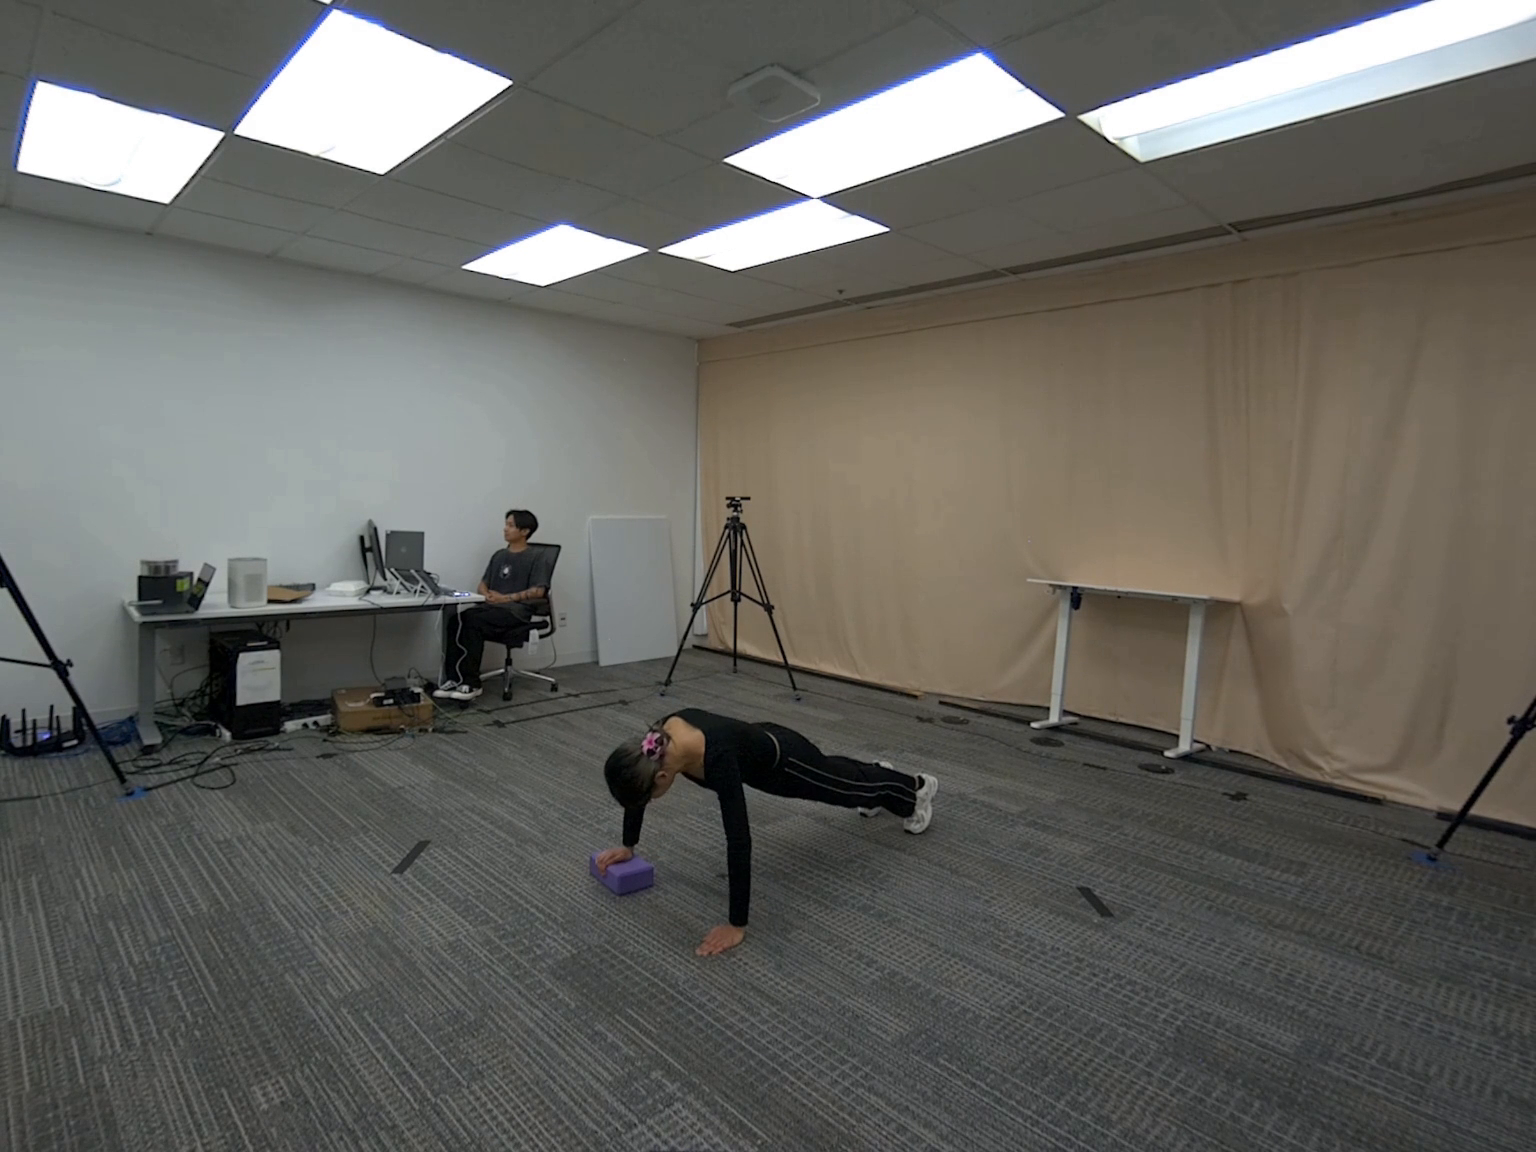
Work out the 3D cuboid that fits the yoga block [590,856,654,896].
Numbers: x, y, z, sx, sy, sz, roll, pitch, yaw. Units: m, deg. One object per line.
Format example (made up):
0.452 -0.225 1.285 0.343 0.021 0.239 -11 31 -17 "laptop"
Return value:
-0.538 1.066 3.050 0.146 0.076 0.235 -2 5 -37 "yoga block"
